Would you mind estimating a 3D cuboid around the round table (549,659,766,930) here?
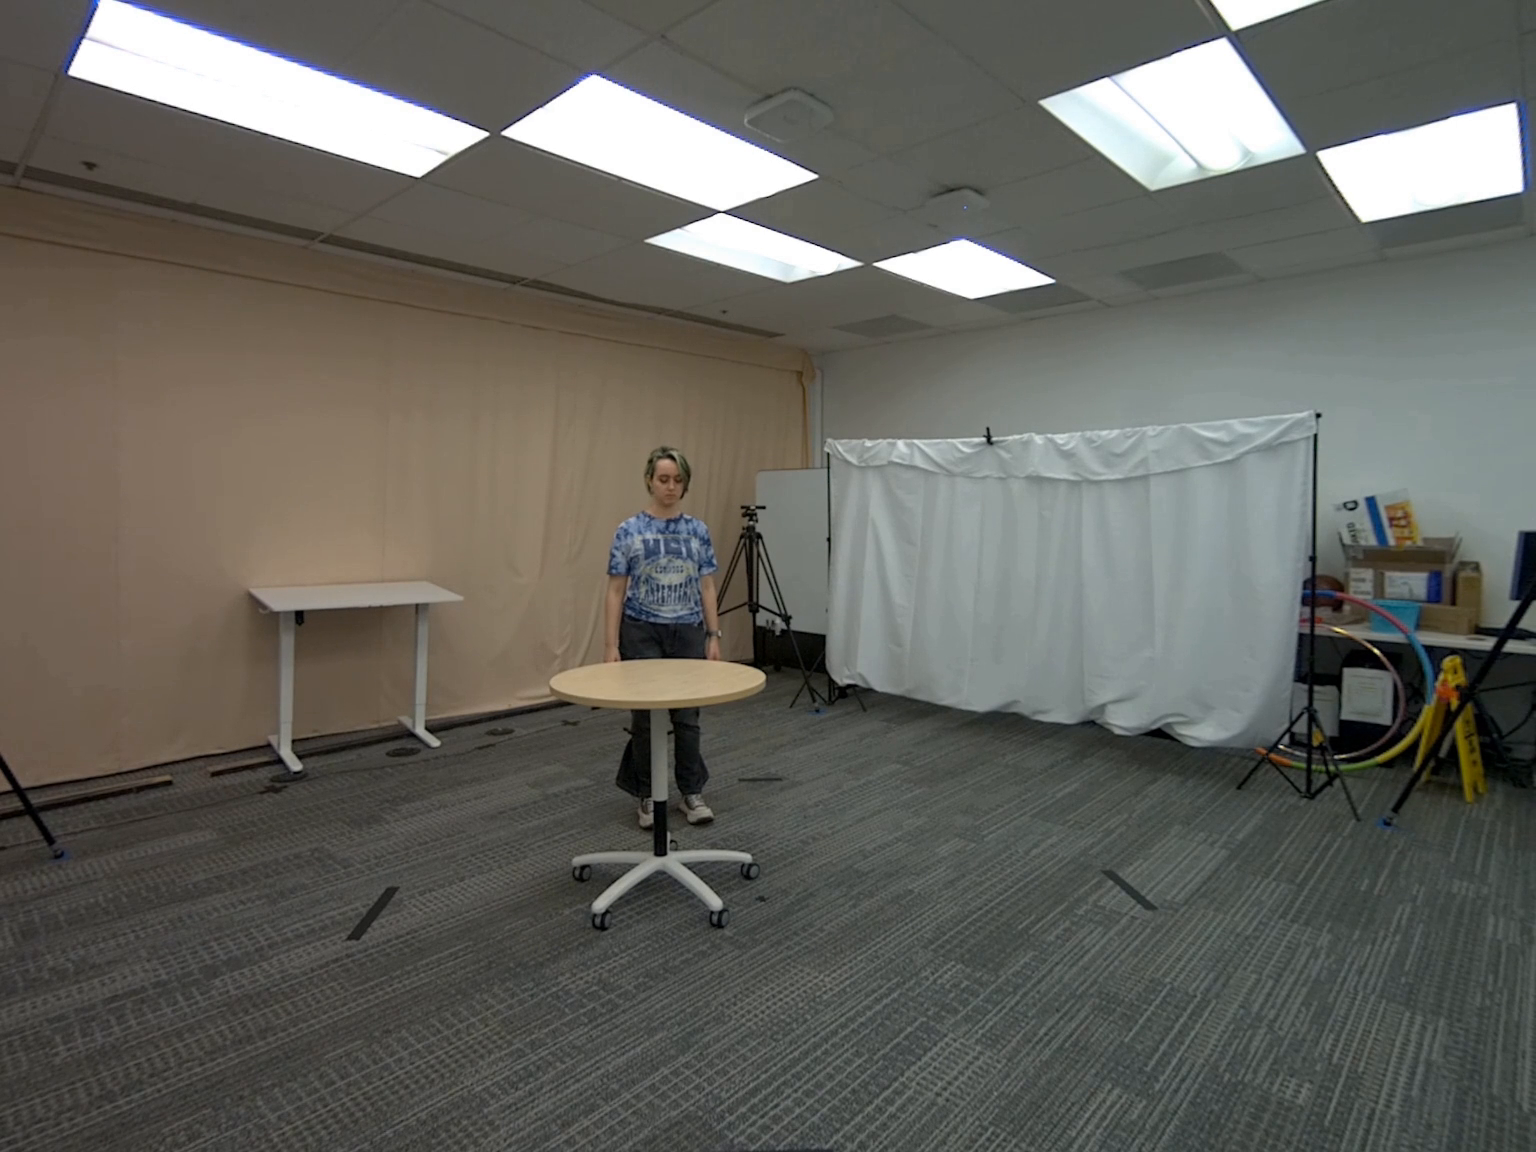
[{"bbox_3d":[-0.376,0.754,3.021,0.763,0.792,0.766,-1,3,-2],"label":"round table"}]
